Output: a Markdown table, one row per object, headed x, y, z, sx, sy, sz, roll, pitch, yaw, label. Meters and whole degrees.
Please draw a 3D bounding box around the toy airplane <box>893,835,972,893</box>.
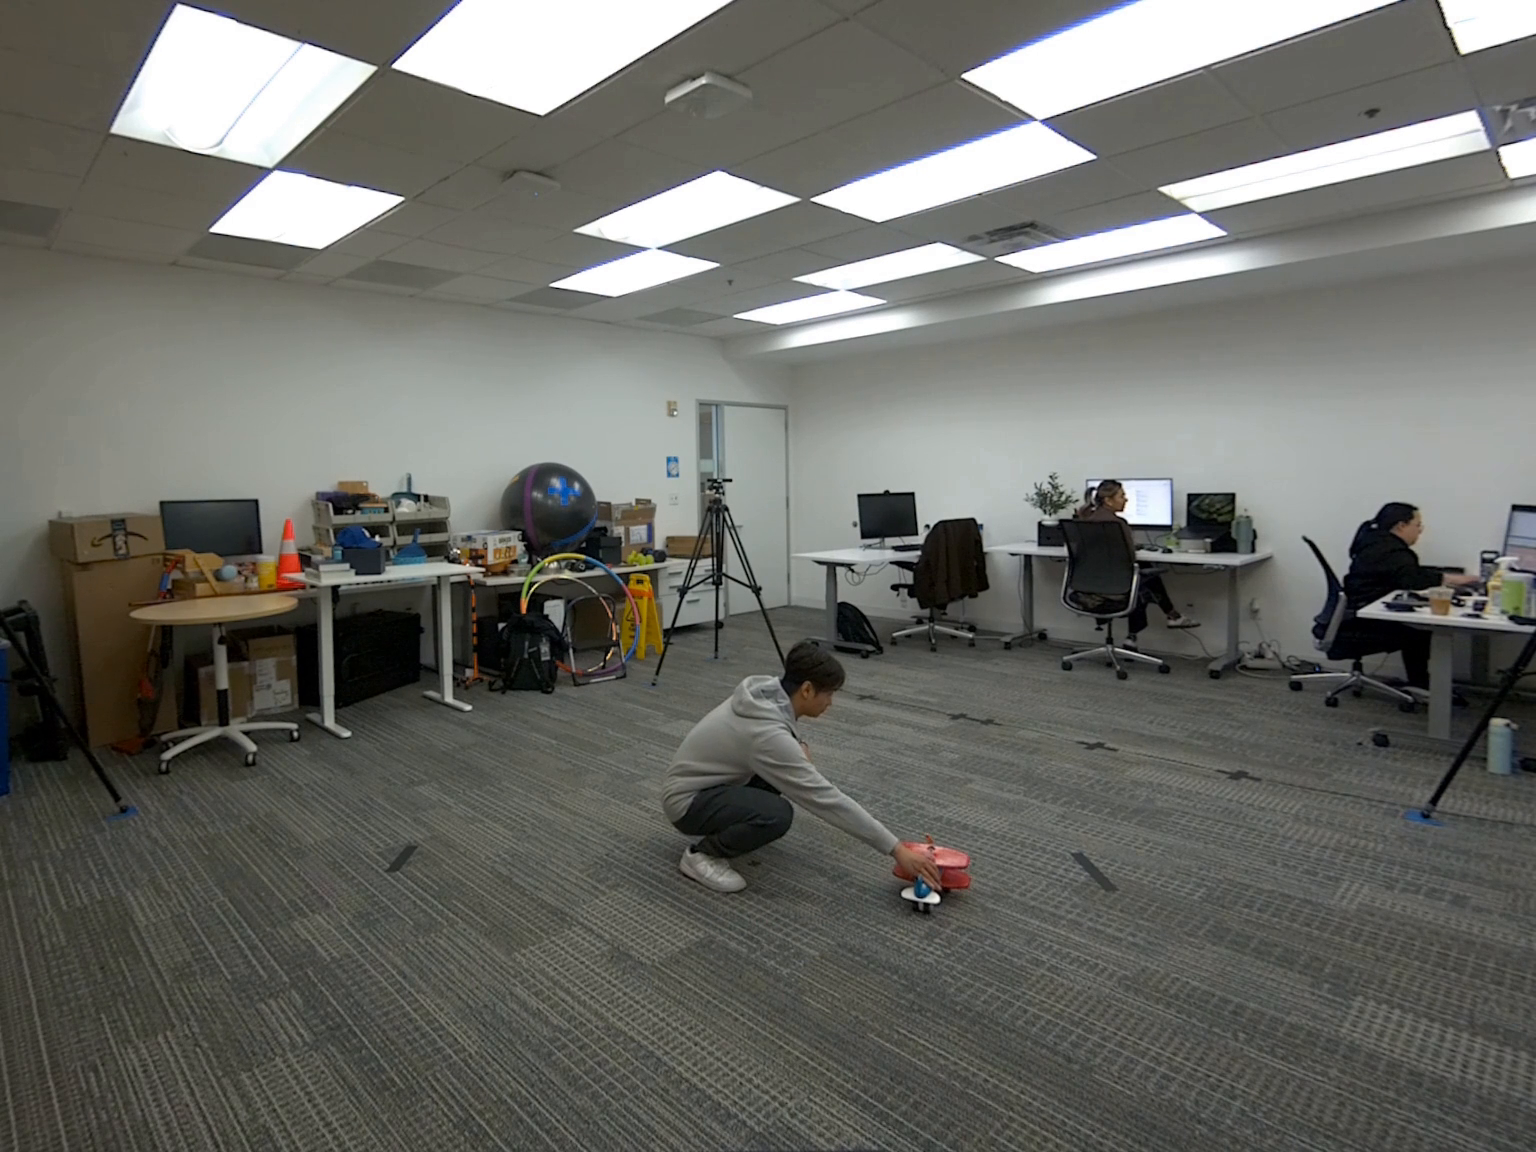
| x | y | z | sx | sy | sz | roll | pitch | yaw | label |
| --- | --- | --- | --- | --- | --- | --- | --- | --- | --- |
| 0.549 | 0.988 | 2.810 | 0.250 | 0.156 | 0.261 | -2 | 4 | -4 | toy airplane |
